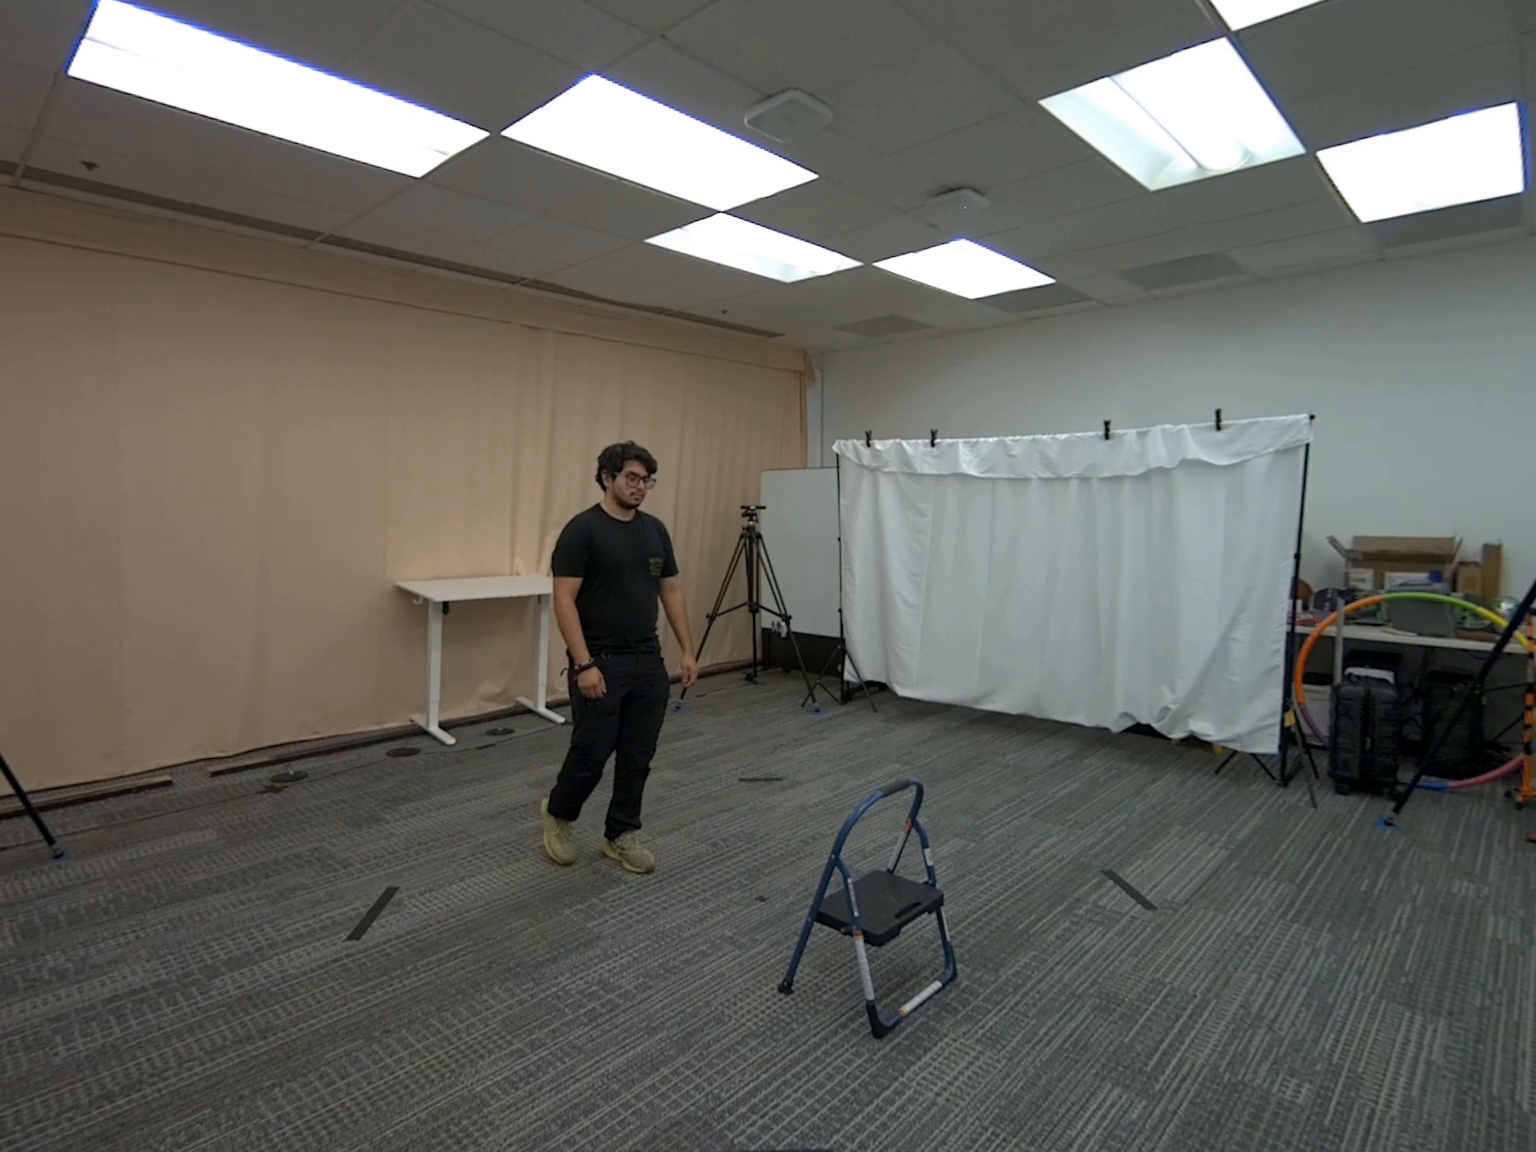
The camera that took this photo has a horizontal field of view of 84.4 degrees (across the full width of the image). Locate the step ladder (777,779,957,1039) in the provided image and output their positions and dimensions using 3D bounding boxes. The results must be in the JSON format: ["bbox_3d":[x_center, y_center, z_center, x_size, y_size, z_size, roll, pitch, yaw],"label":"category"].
[{"bbox_3d":[0.300,0.887,2.435,0.361,0.605,0.417,3,5,42],"label":"step ladder"}]
